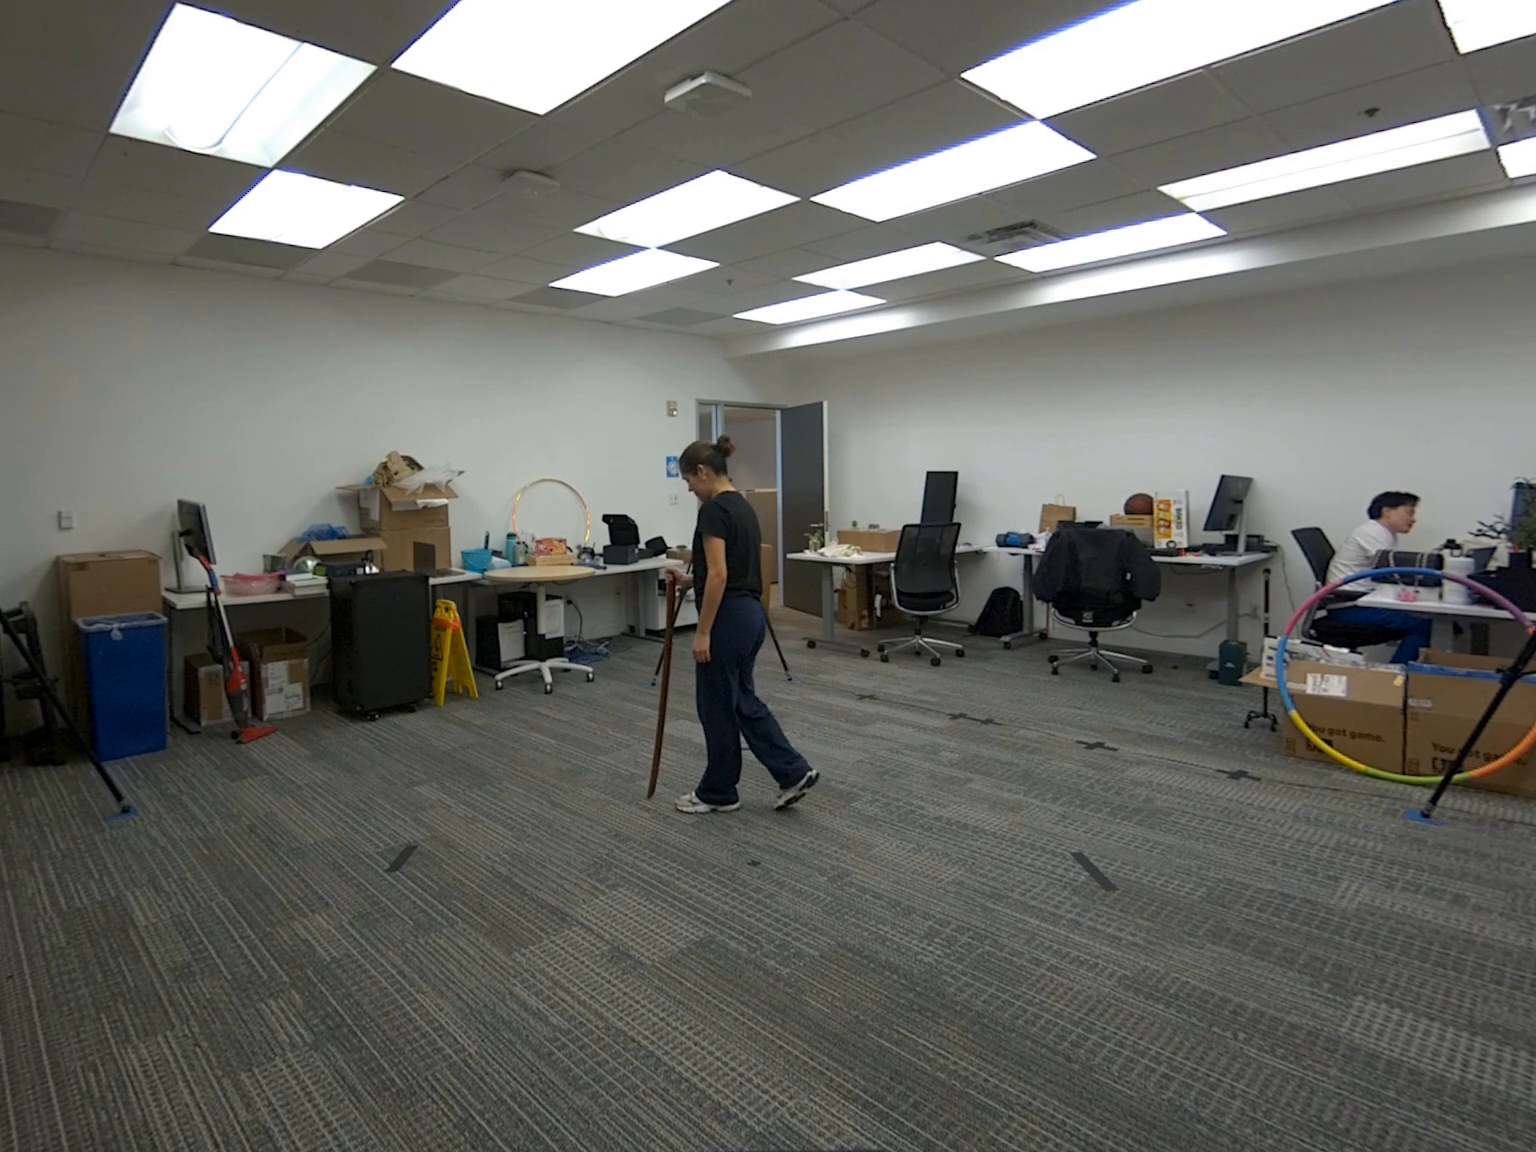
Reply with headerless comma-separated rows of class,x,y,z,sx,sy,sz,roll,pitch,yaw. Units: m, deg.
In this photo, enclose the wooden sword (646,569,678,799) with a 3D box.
wooden sword,-0.460,0.486,3.764,0.024,1.024,0.051,7,1,6
